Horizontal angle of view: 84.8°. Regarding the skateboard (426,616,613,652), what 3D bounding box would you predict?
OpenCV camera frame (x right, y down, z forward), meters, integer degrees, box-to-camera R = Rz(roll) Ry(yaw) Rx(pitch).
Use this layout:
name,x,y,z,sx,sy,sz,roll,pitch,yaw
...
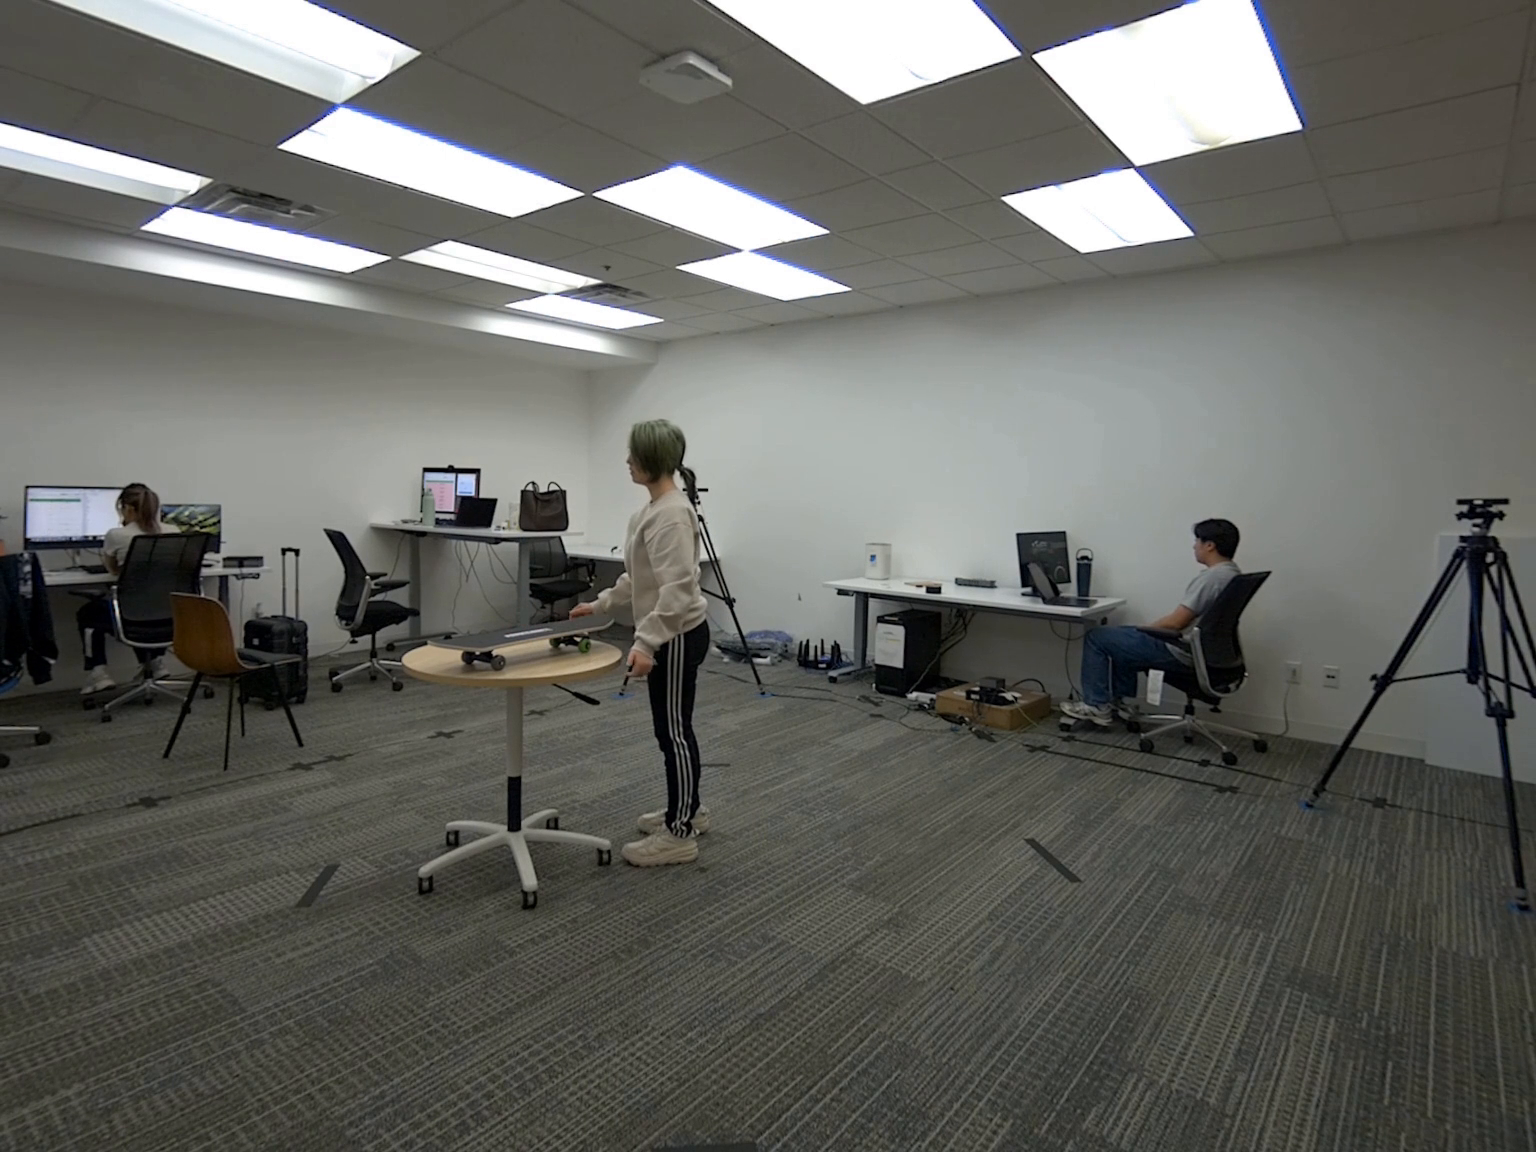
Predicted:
name,x,y,z,sx,sy,sz,roll,pitch,yaw
skateboard,-0.855,0.235,3.016,0.200,0.110,0.764,7,9,35
